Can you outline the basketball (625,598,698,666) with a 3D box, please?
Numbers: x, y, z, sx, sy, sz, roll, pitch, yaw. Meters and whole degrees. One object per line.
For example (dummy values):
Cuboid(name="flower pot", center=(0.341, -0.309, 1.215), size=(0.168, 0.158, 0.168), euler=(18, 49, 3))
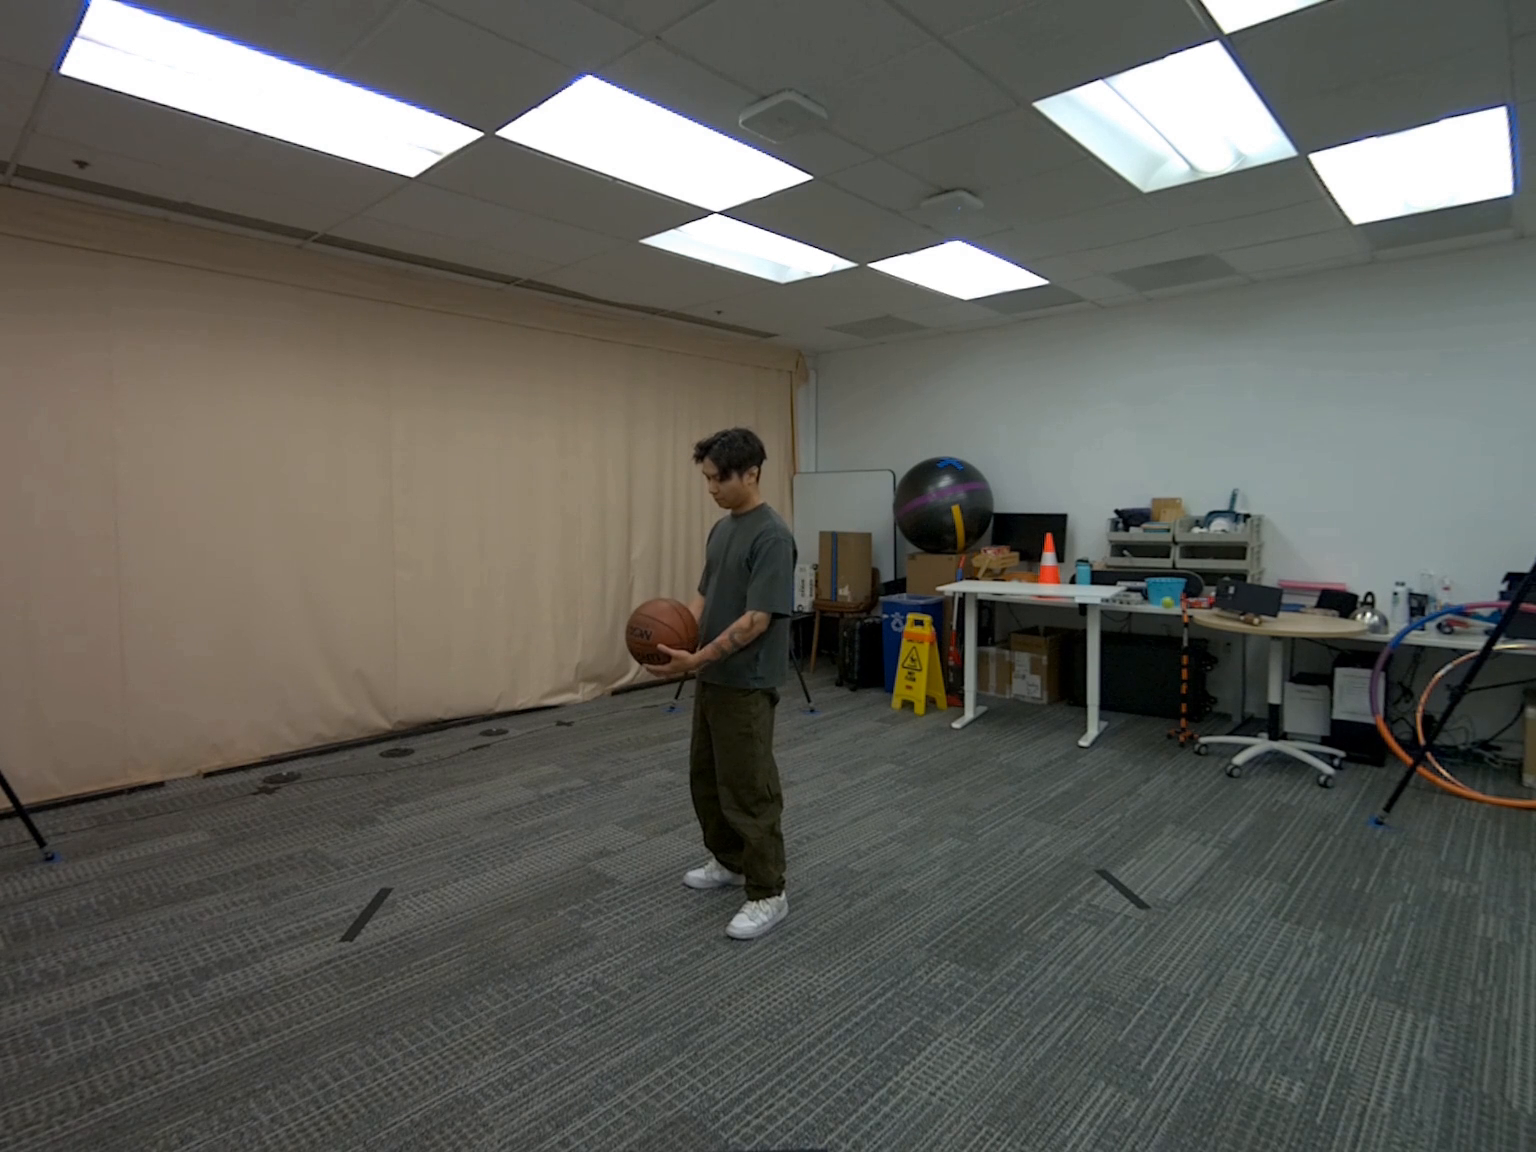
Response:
Cuboid(name="basketball", center=(-0.338, 0.190, 2.751), size=(0.236, 0.235, 0.237), euler=(0, 4, -2))
